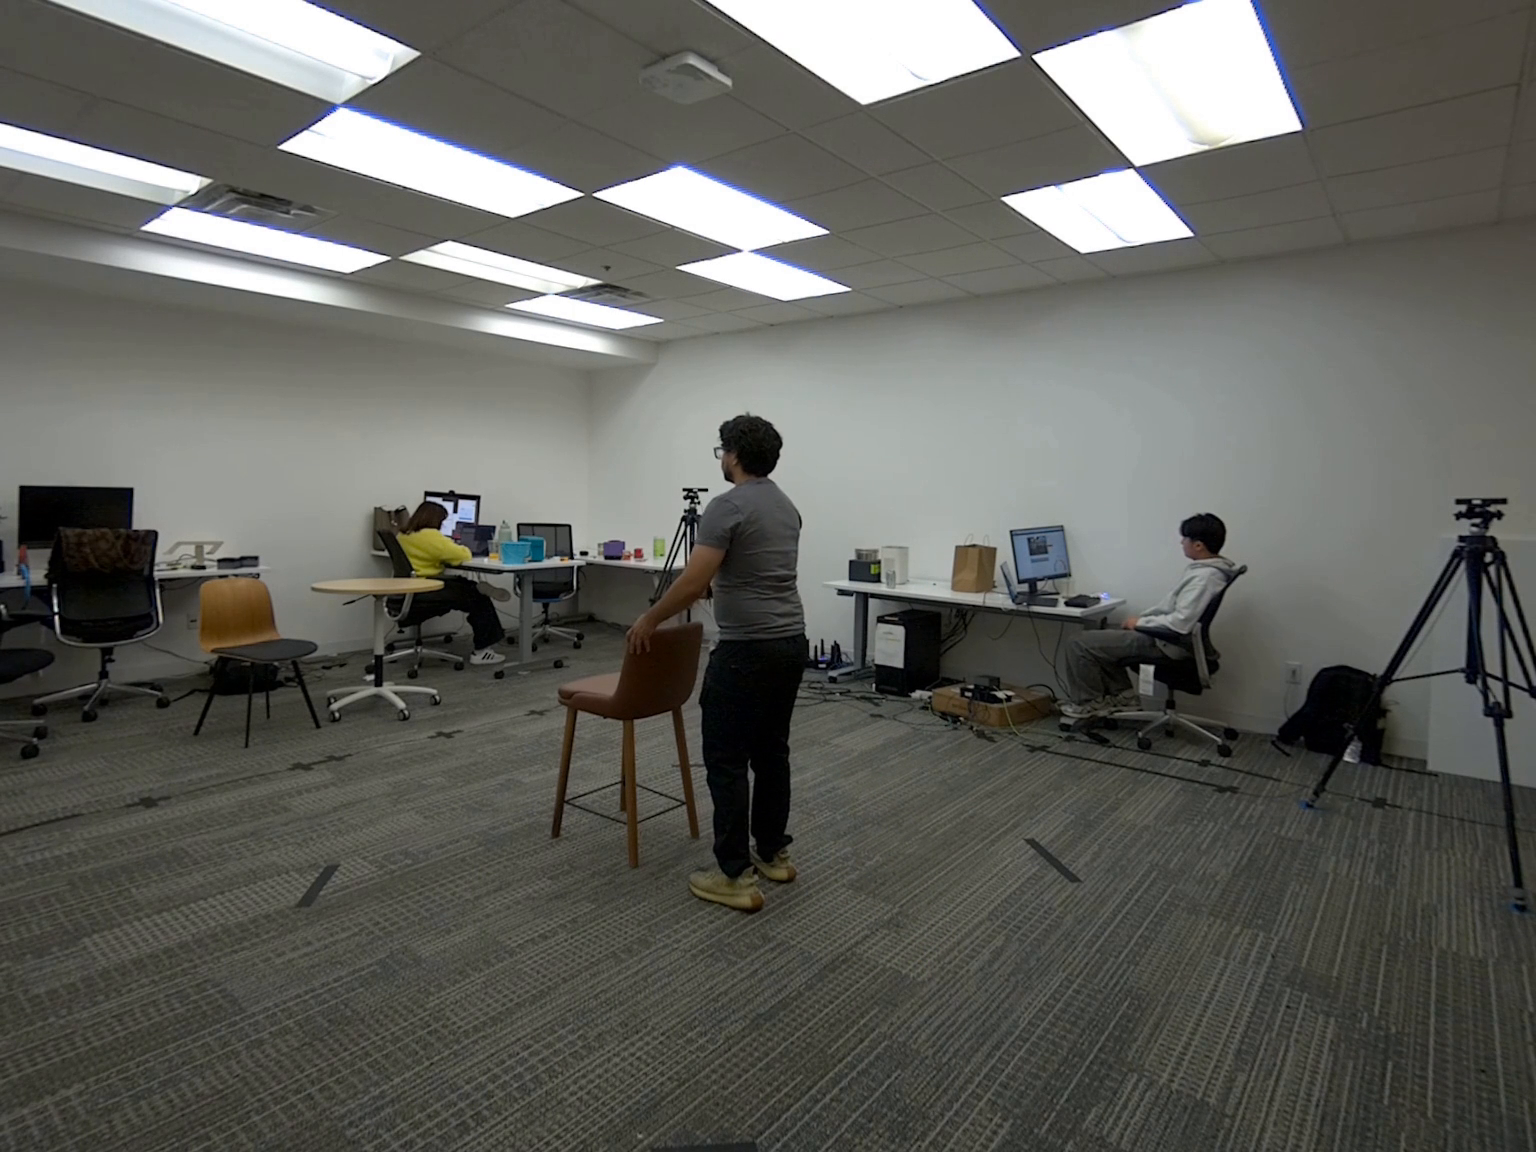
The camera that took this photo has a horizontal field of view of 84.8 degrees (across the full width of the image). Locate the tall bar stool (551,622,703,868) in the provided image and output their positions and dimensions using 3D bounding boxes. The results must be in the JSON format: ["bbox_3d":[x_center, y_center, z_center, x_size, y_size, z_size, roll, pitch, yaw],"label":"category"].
[{"bbox_3d":[-0.552,0.600,3.364,0.483,0.887,0.443,6,5,38],"label":"tall bar stool"}]
